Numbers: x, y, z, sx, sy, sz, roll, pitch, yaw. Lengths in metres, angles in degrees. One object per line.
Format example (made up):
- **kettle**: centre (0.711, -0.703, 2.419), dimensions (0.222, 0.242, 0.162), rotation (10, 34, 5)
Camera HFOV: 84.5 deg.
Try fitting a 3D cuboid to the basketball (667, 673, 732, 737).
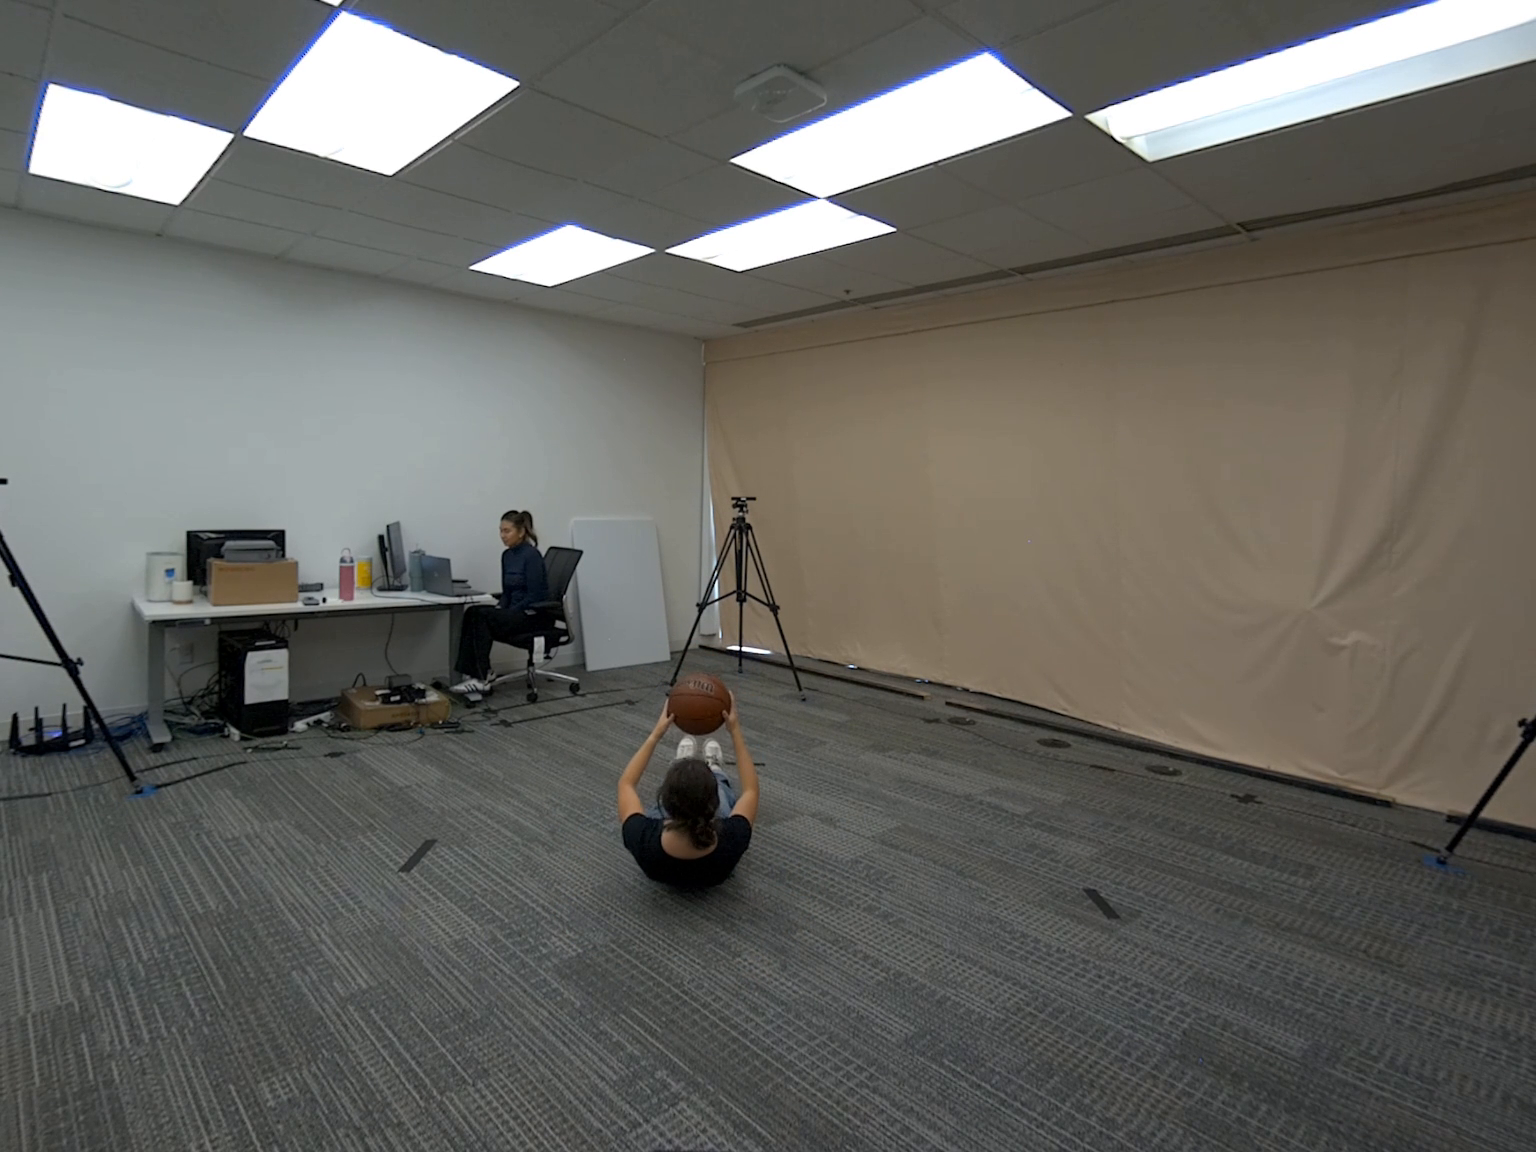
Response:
- **basketball**: centre (-0.265, 0.484, 3.203), dimensions (0.236, 0.235, 0.237), rotation (1, 4, -1)
